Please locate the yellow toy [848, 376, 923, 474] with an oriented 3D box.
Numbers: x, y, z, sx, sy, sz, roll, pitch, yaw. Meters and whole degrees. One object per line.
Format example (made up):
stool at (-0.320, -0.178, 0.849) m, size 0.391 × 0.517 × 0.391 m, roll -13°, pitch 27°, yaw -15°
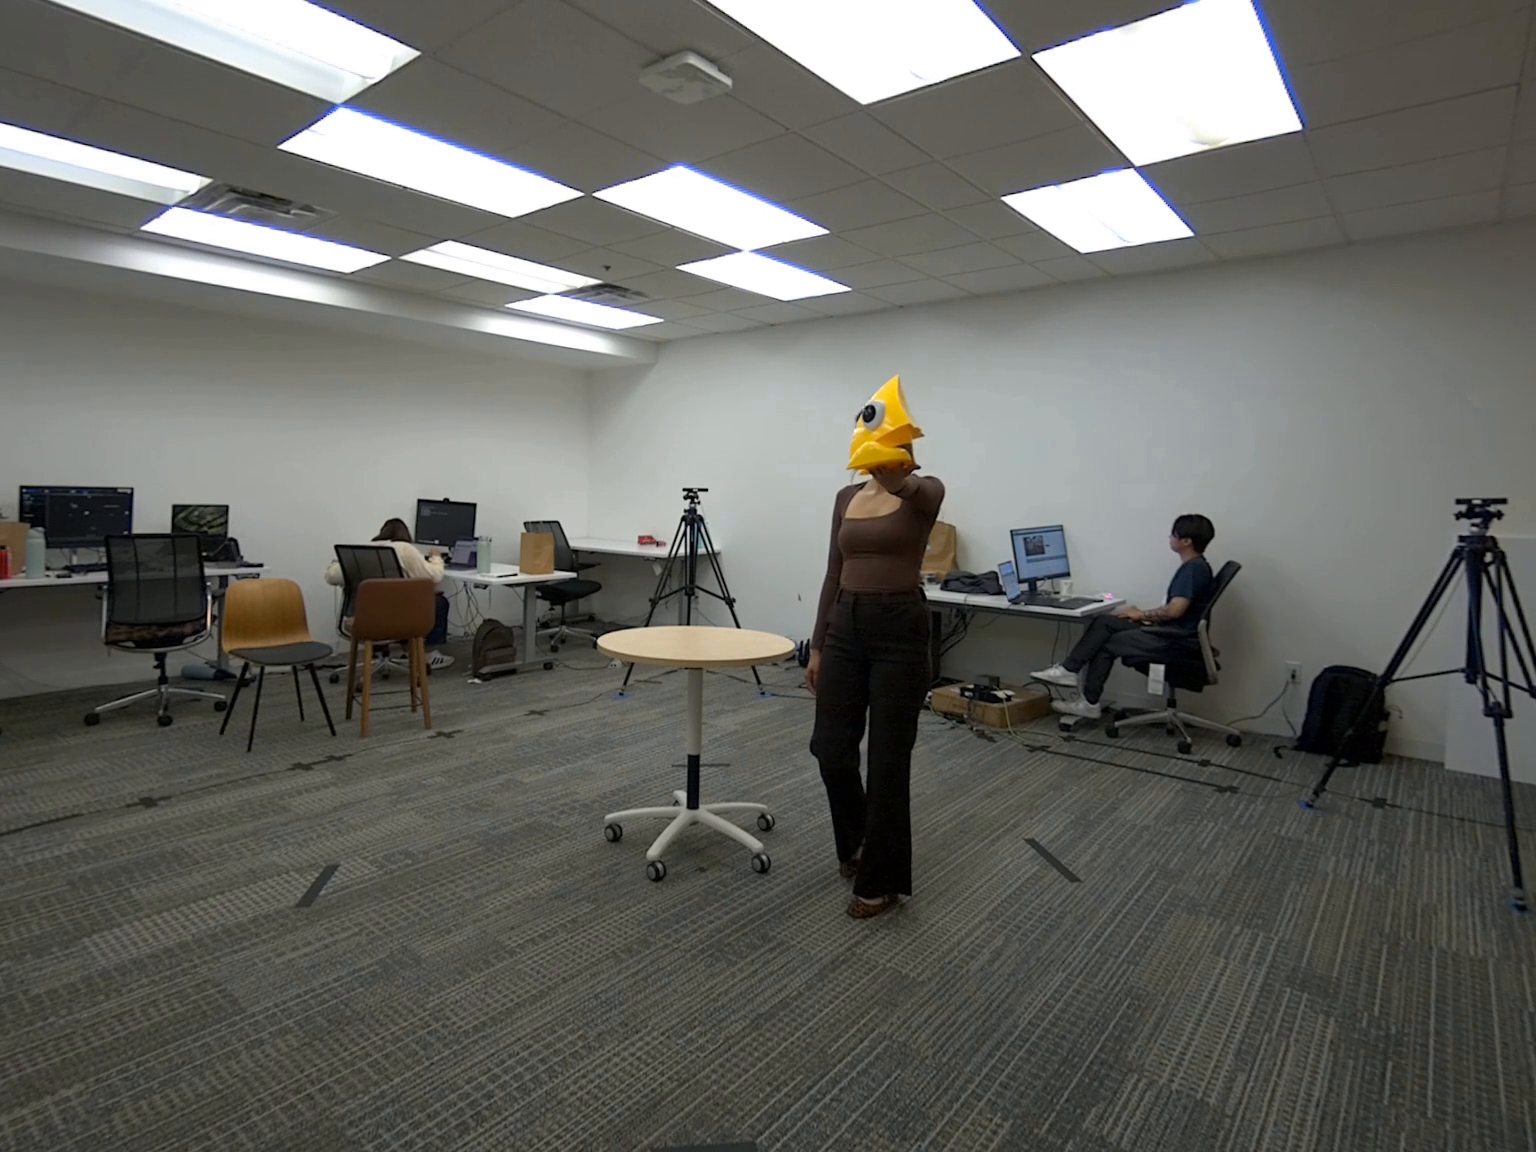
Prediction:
yellow toy at (0.289, -0.398, 2.202) m, size 0.197 × 0.232 × 0.200 m, roll -9°, pitch -5°, yaw 21°
